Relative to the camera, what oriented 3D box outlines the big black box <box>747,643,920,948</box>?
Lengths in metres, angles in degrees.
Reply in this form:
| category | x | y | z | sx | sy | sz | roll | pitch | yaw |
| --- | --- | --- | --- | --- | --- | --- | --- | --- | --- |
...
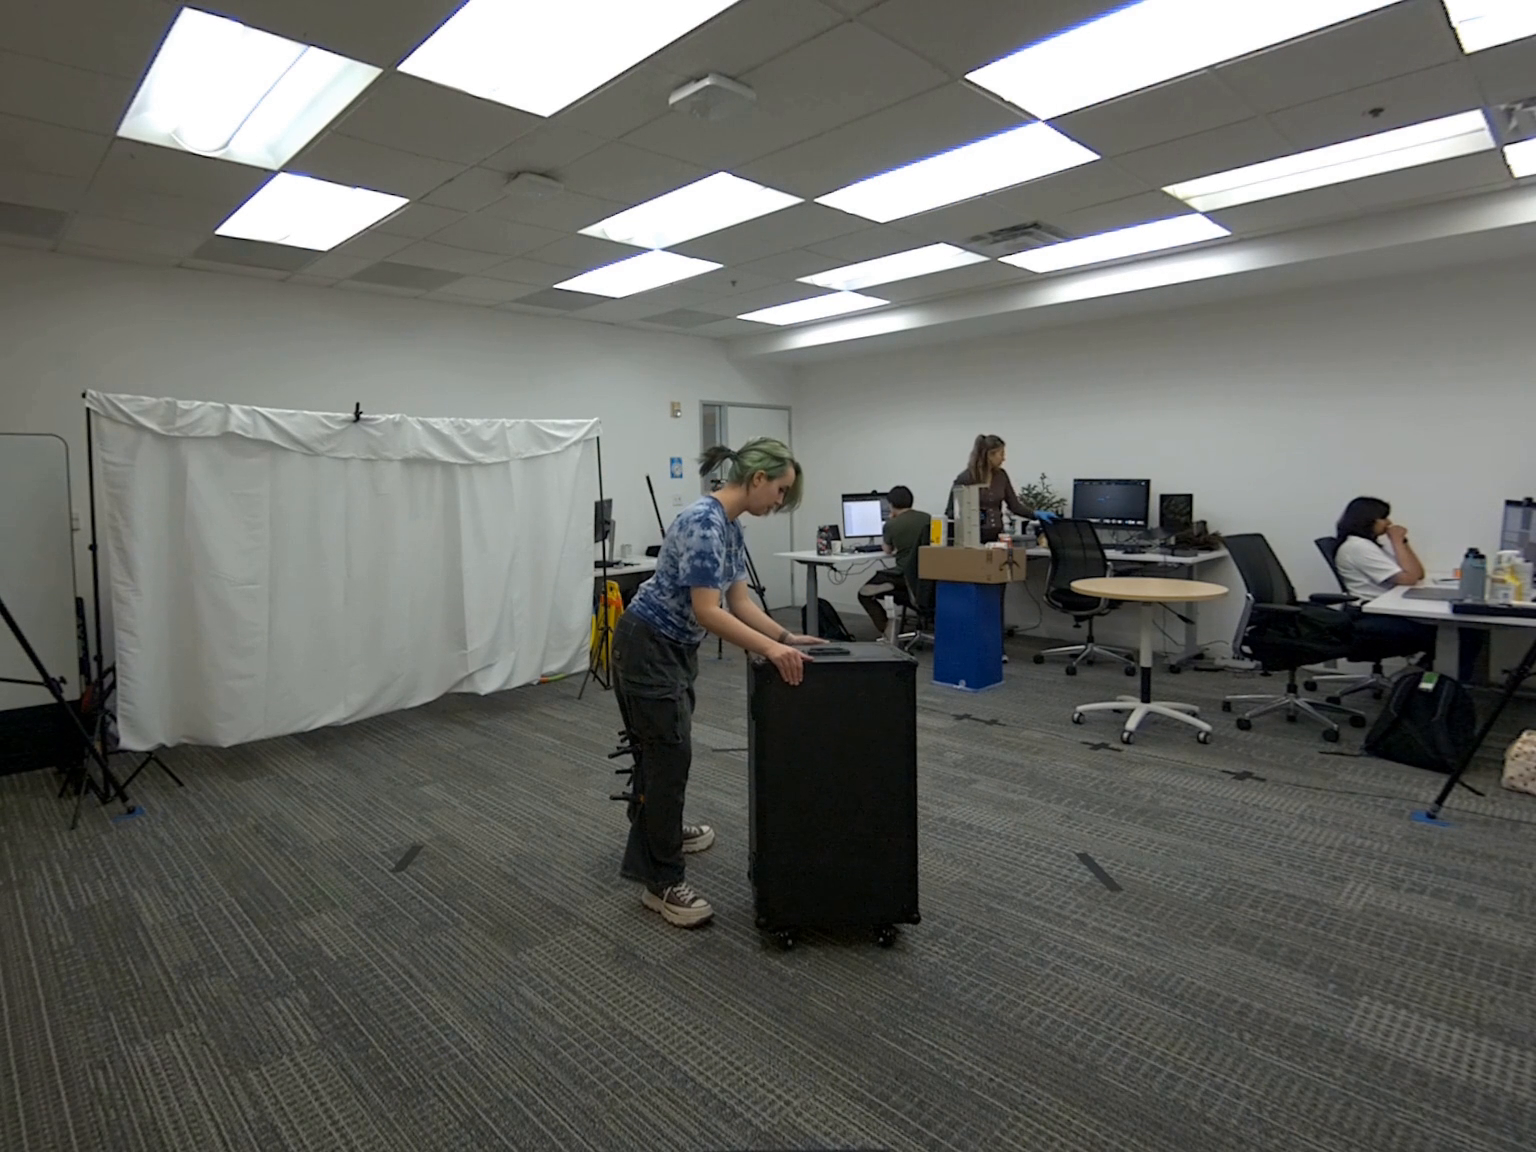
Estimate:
| category | x | y | z | sx | sy | sz | roll | pitch | yaw |
| --- | --- | --- | --- | --- | --- | --- | --- | --- | --- |
| big black box | 0.187 | 0.669 | 2.685 | 0.520 | 0.861 | 0.397 | -1 | 1 | -3 |
